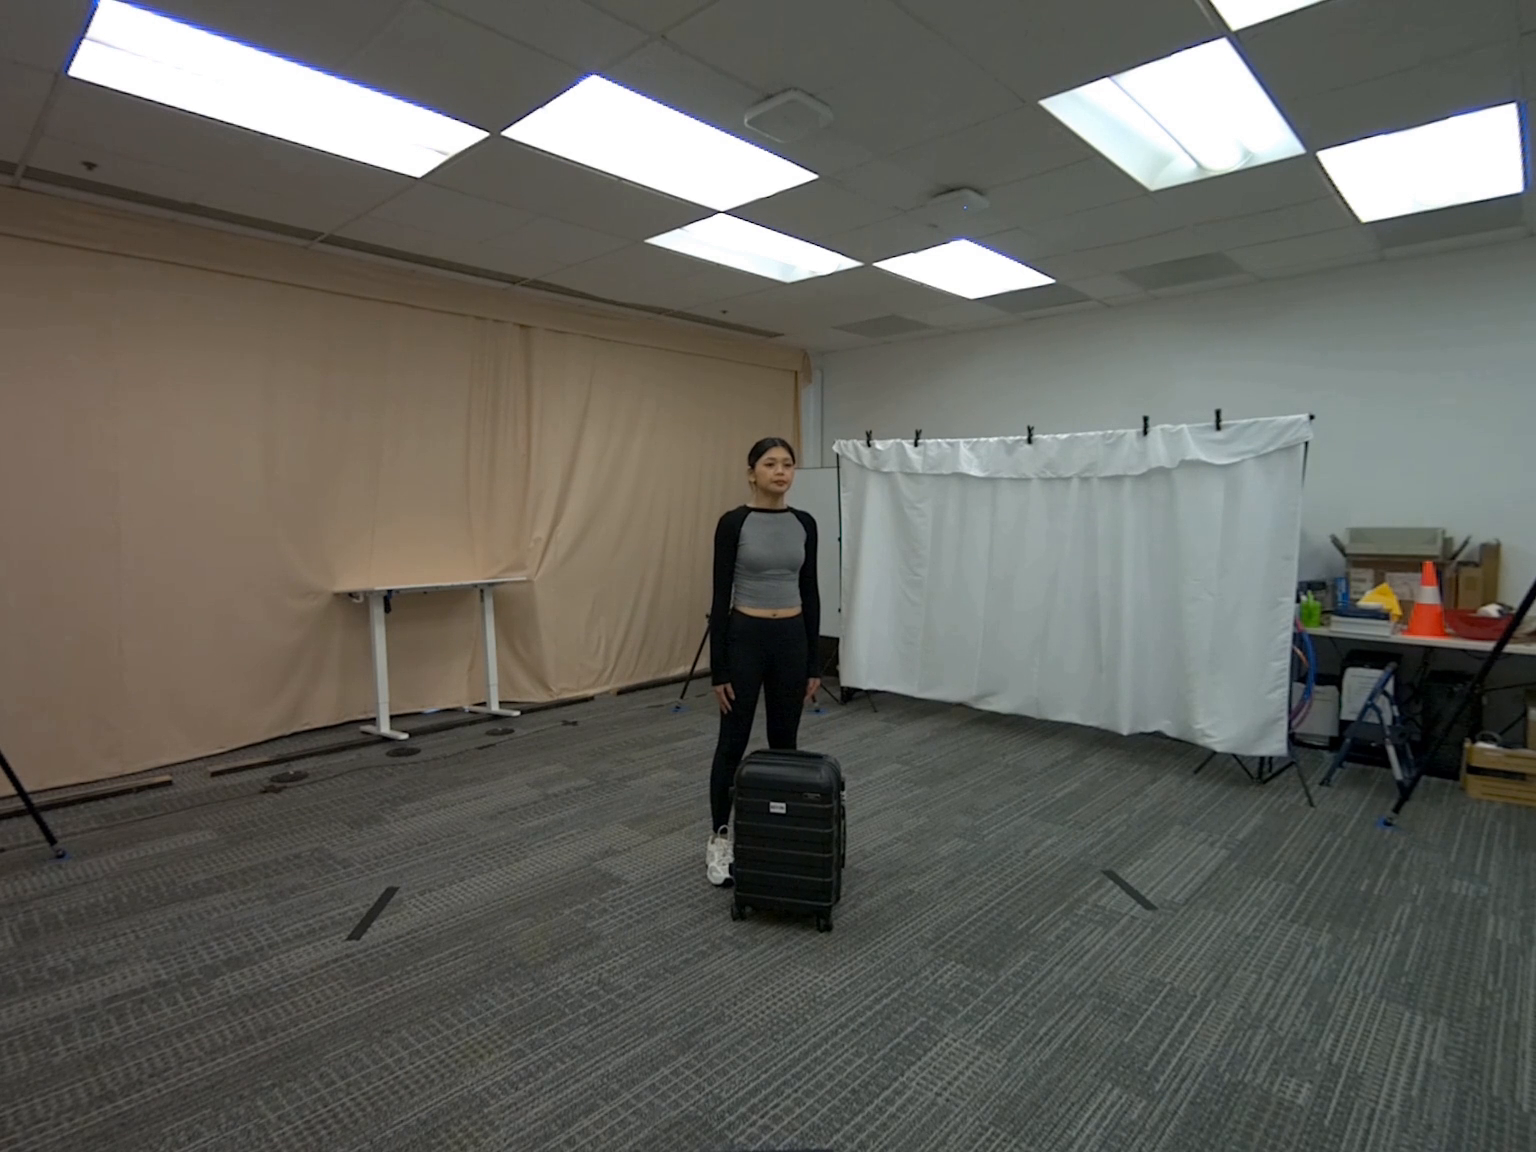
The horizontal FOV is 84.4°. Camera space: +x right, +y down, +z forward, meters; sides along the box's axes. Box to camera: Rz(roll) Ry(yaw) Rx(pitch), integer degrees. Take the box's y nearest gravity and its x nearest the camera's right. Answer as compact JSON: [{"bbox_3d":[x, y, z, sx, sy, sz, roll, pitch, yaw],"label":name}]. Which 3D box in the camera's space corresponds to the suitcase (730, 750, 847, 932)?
[{"bbox_3d":[0.076,0.878,2.864,0.382,0.548,0.245,2,5,15],"label":"suitcase"}]
